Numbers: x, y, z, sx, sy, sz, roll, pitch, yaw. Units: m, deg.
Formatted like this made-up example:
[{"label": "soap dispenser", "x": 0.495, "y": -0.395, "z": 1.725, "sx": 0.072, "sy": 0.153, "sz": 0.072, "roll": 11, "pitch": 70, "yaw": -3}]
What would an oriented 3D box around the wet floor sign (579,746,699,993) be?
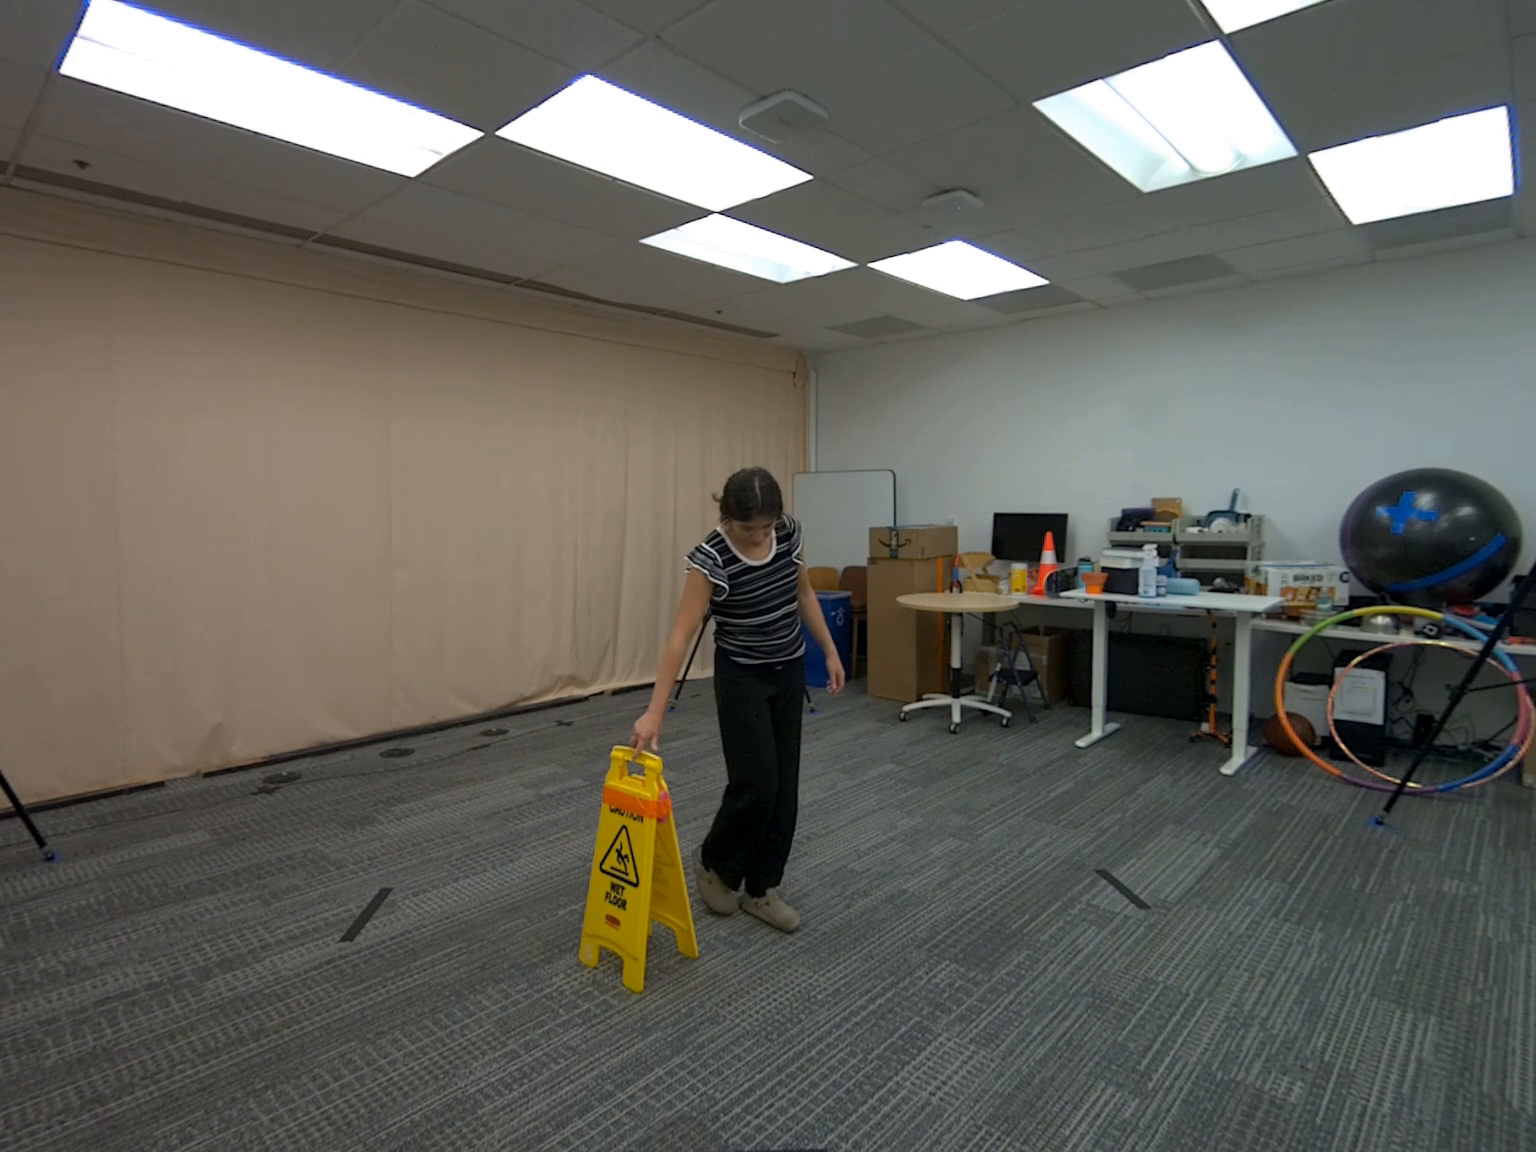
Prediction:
[{"label": "wet floor sign", "x": -0.396, "y": 0.855, "z": 2.571, "sx": 0.291, "sy": 0.644, "sz": 0.281, "roll": 2, "pitch": 5, "yaw": 39}]
